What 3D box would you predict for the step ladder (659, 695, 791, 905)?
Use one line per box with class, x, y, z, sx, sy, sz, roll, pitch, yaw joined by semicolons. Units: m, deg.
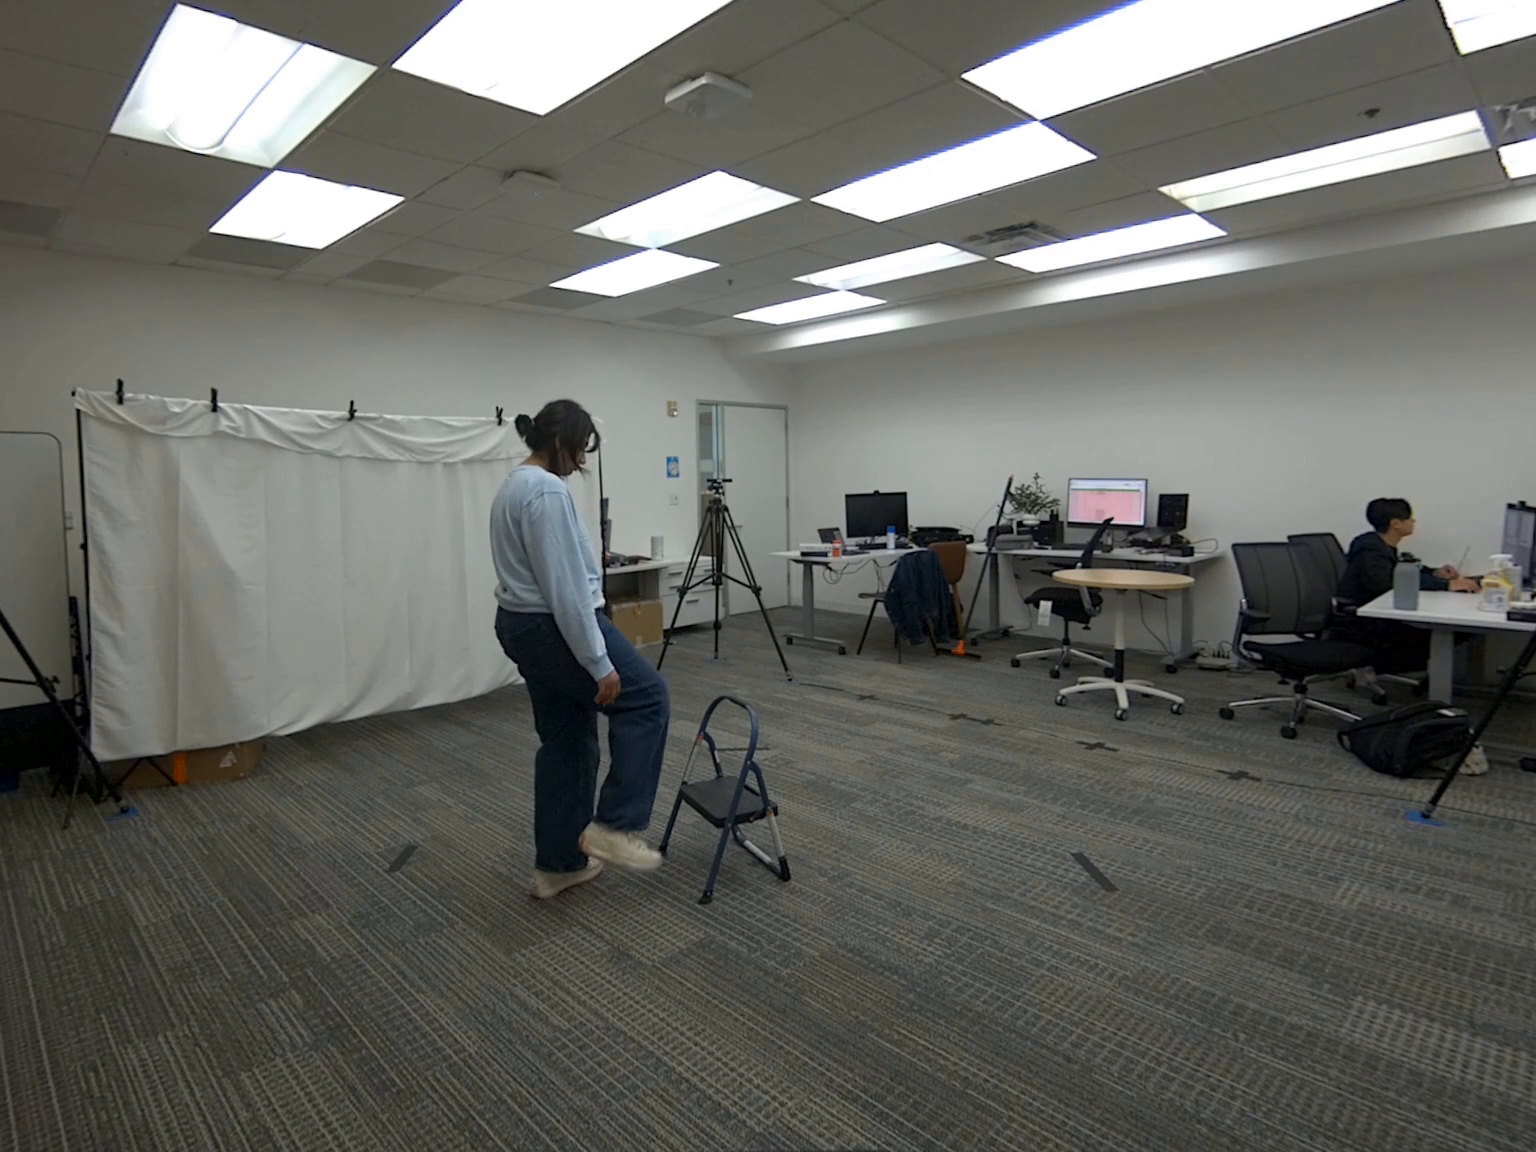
step ladder;-0.168;0.751;3.061;0.341;0.603;0.442;-3;5;-28
